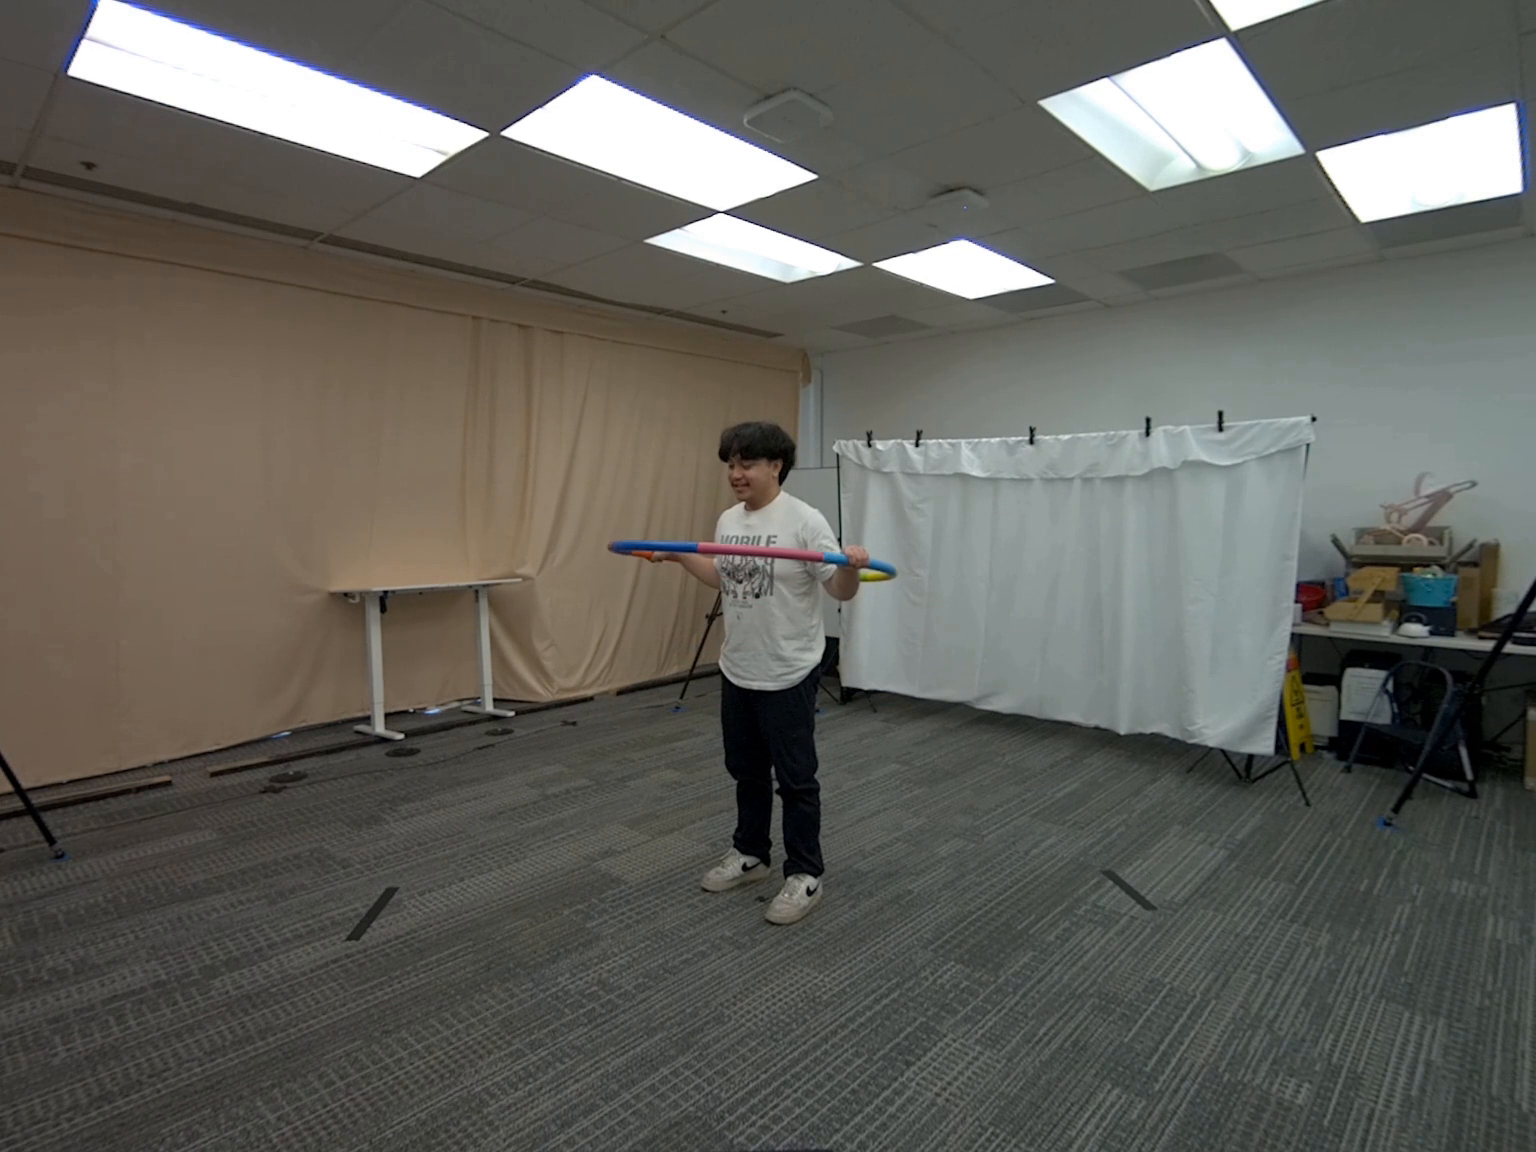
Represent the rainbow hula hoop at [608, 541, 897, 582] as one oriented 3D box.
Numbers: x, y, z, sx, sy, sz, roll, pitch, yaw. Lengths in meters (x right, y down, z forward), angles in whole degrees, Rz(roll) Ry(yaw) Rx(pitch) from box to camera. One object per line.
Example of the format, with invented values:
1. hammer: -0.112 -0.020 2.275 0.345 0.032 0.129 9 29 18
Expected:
1. rainbow hula hoop: -0.057 -0.050 2.882 0.985 0.052 0.984 6 -3 -1
